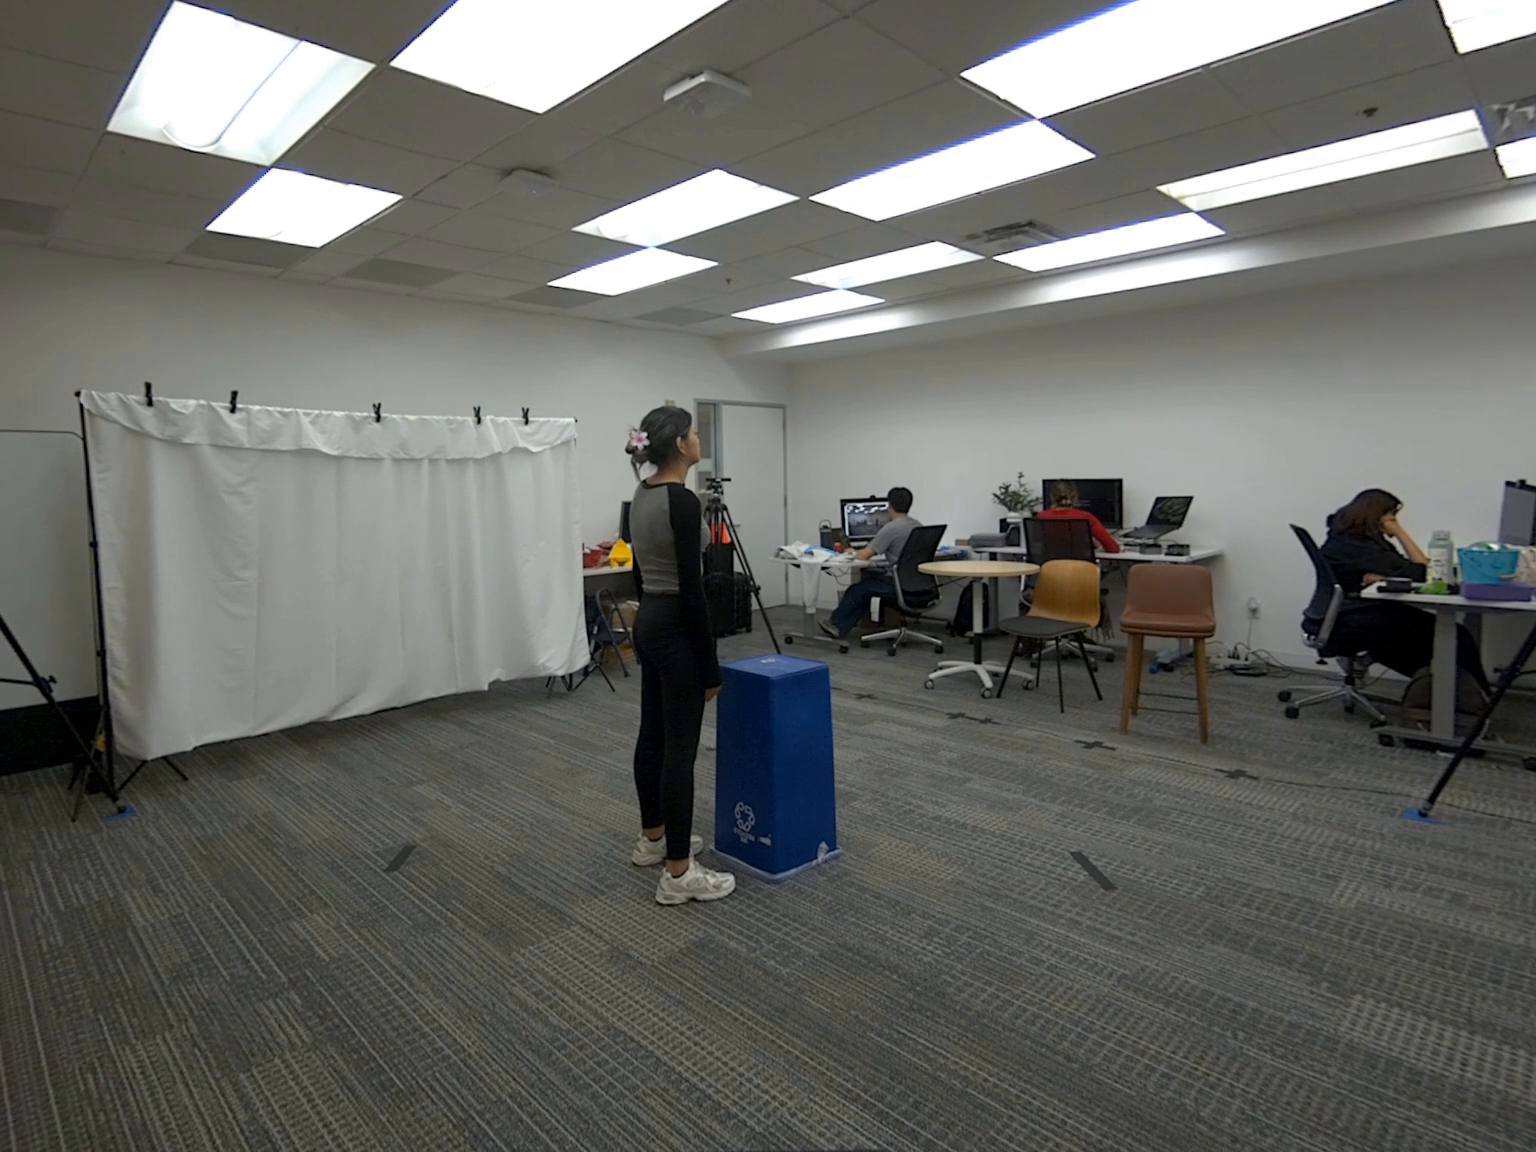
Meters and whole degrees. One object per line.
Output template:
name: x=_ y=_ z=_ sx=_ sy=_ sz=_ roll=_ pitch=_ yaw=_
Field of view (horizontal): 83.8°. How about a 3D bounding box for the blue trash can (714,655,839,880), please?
blue trash can: x=0.024 y=0.681 z=3.176 sx=0.368 sy=0.712 sz=0.385 roll=-3 pitch=4 yaw=-41
